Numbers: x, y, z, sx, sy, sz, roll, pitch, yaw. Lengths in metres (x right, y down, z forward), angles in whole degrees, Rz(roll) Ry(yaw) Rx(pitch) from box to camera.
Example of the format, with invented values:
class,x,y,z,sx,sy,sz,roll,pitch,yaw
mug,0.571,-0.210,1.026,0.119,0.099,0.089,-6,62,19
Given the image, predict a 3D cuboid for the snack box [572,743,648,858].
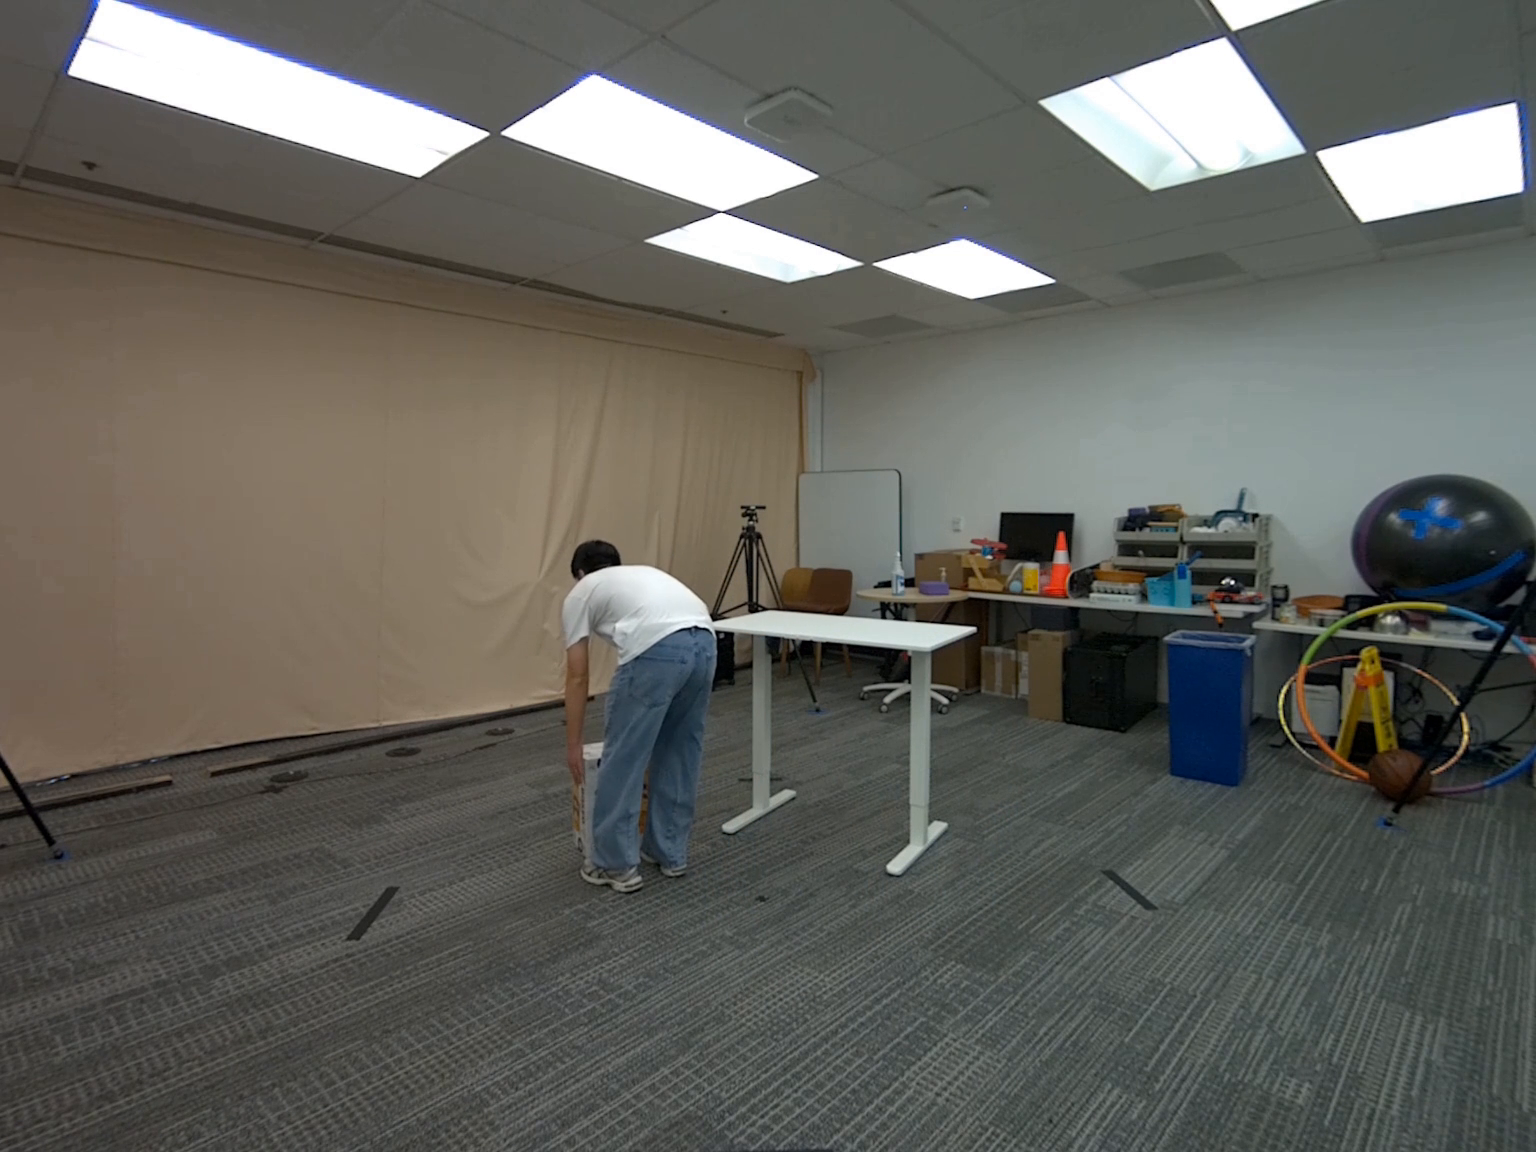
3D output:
class,x,y,z,sx,sy,sz,roll,pitch,yaw
snack box,-0.623,0.903,3.477,0.331,0.404,0.211,-3,4,-28
